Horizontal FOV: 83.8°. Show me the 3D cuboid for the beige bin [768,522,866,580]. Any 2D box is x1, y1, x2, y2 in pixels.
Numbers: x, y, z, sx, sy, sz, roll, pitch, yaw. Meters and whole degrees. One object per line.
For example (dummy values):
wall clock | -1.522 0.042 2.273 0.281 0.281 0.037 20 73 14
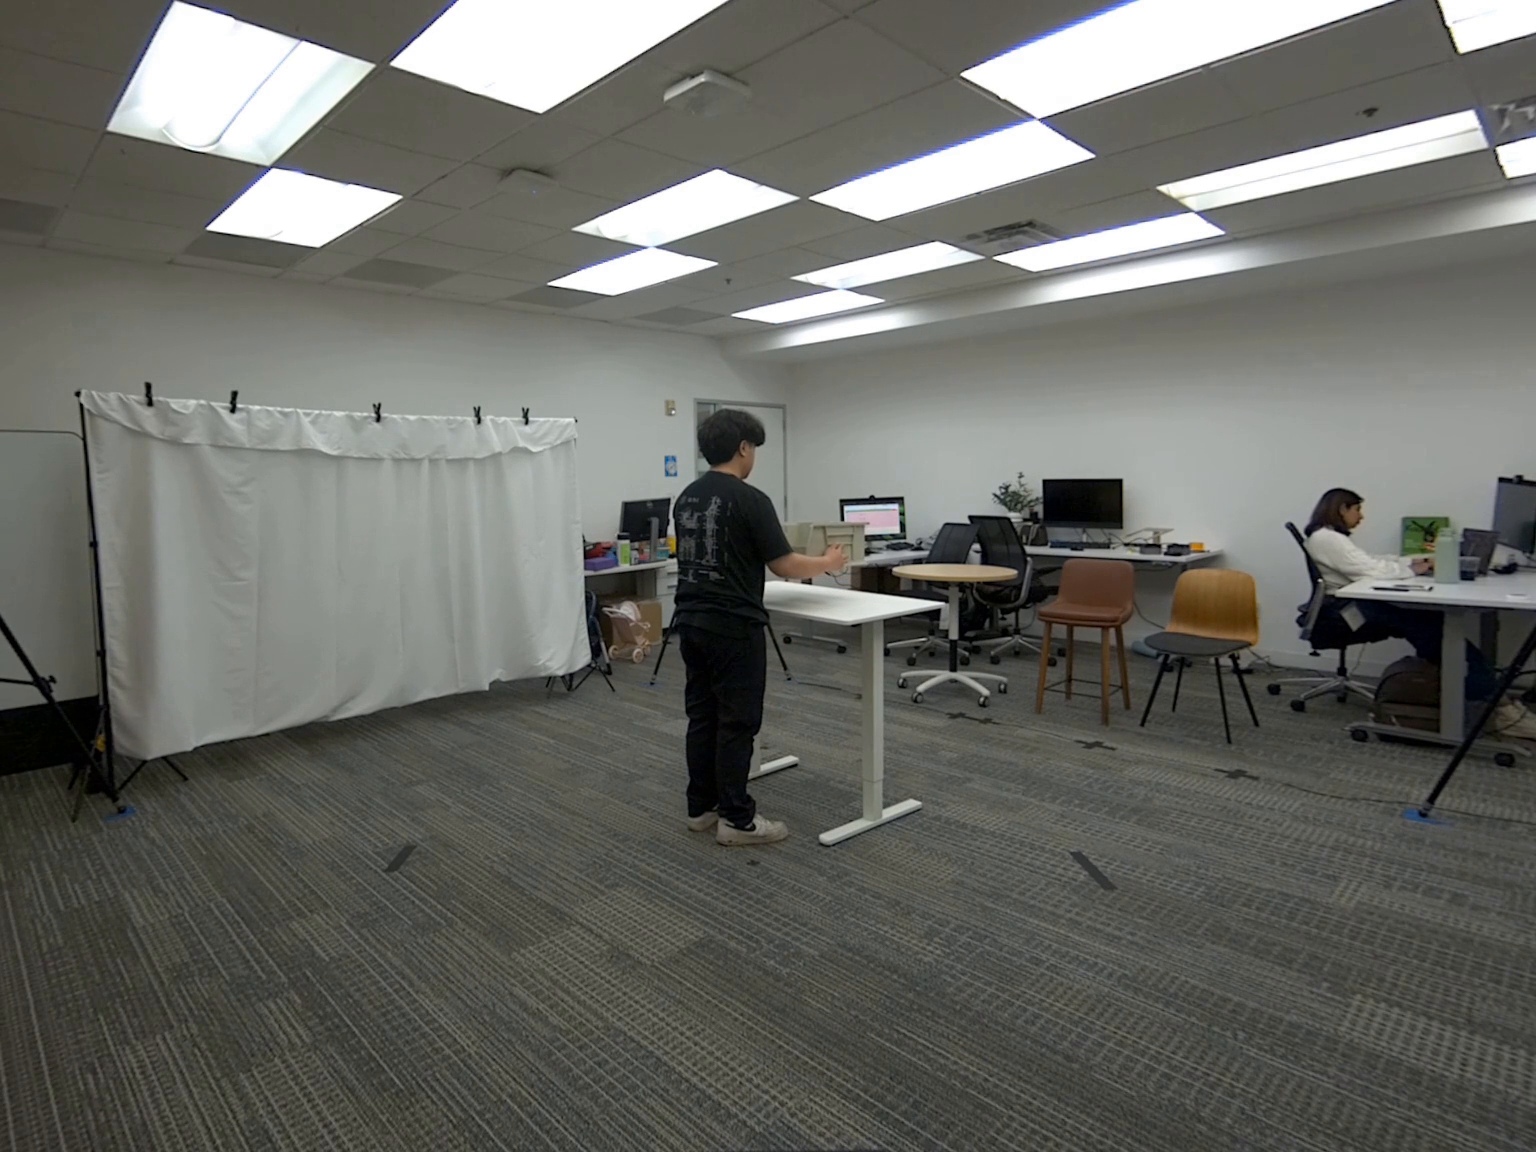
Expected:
beige bin | 0.145 -0.131 3.628 0.367 0.188 0.435 -3 4 -41
